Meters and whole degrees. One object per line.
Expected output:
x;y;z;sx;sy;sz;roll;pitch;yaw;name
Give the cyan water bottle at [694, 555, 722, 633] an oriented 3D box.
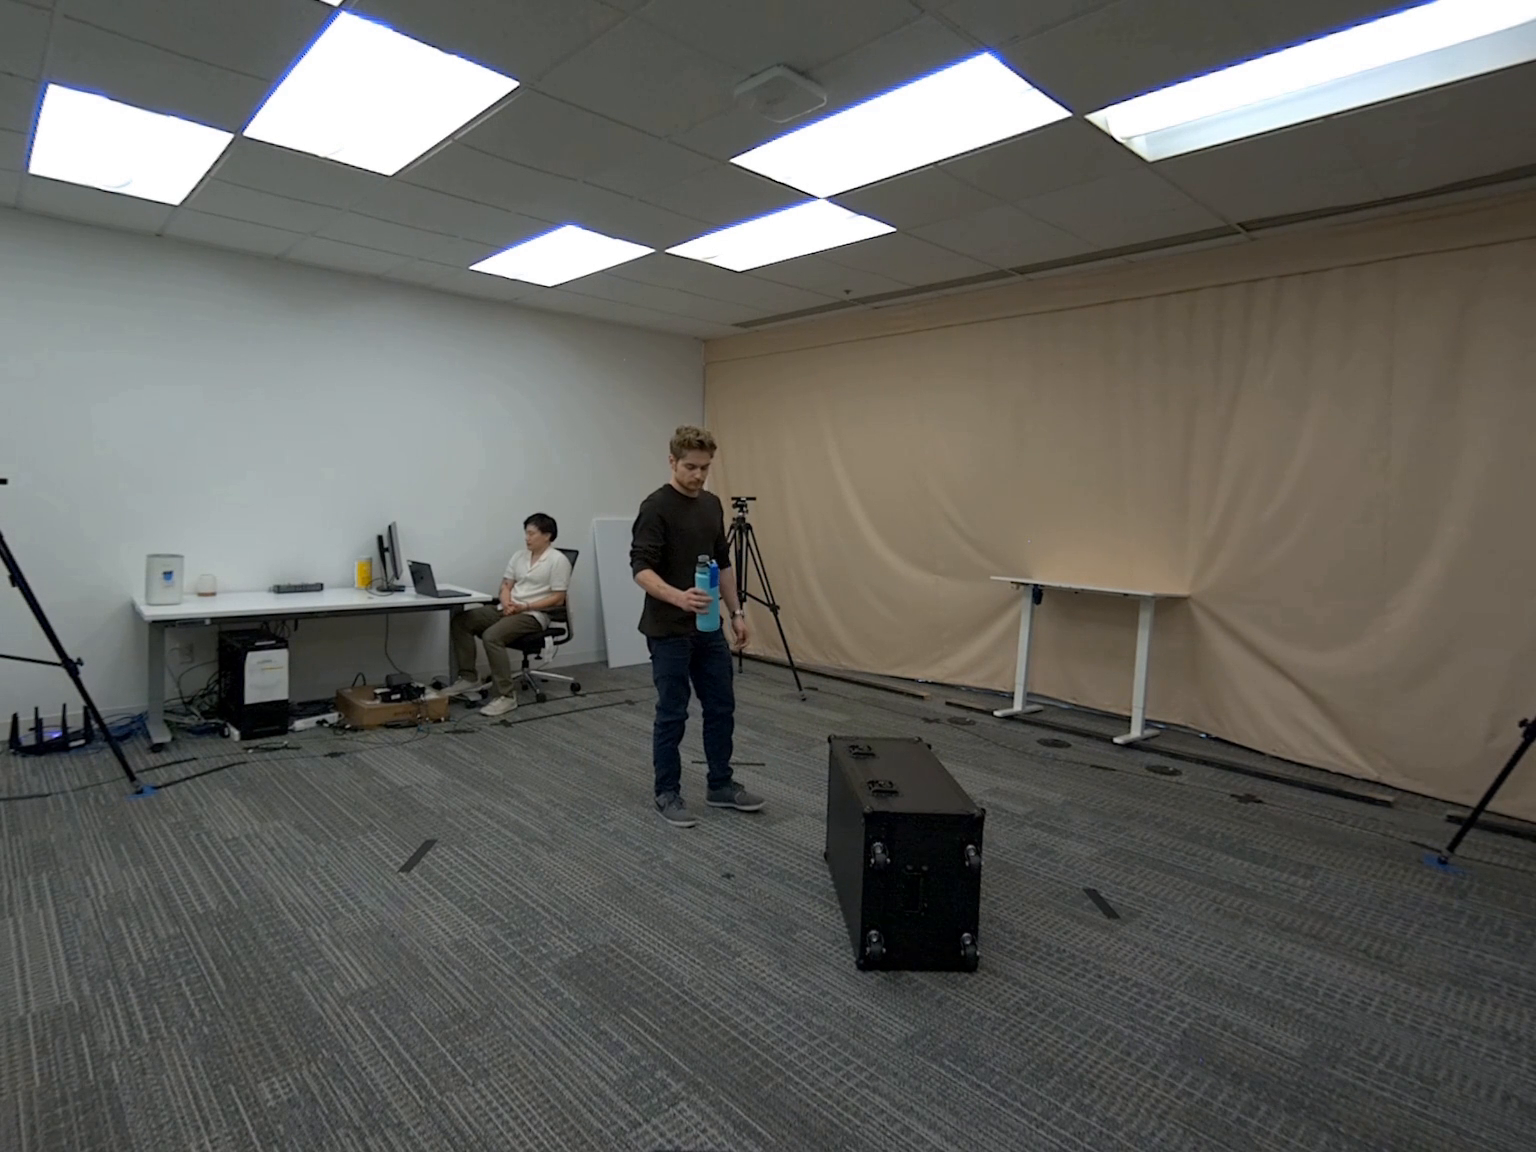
-0.237;0.065;3.222;0.092;0.280;0.093;2;18;-2;cyan water bottle
